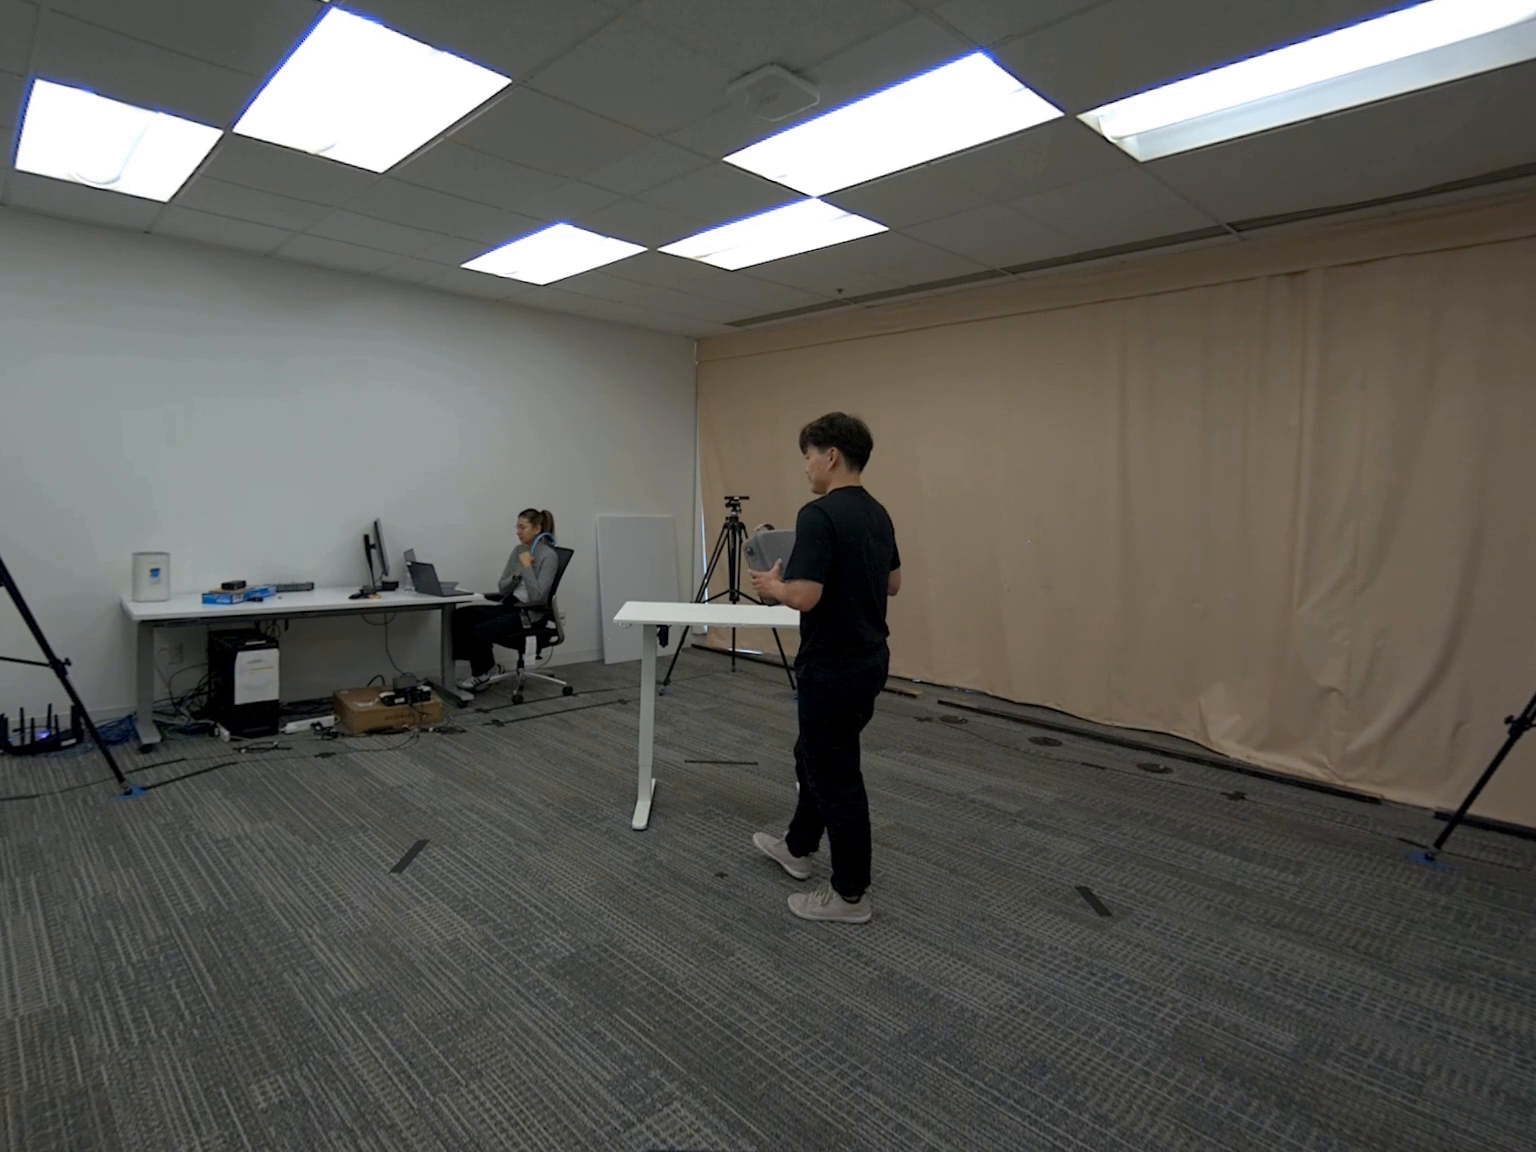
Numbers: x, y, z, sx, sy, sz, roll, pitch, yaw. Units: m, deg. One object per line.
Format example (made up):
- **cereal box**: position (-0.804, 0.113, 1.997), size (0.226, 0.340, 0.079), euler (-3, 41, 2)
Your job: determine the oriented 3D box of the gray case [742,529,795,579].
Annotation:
- **gray case**: position (0.037, -0.035, 2.935), size (0.105, 0.263, 0.251), euler (-27, -12, 34)
